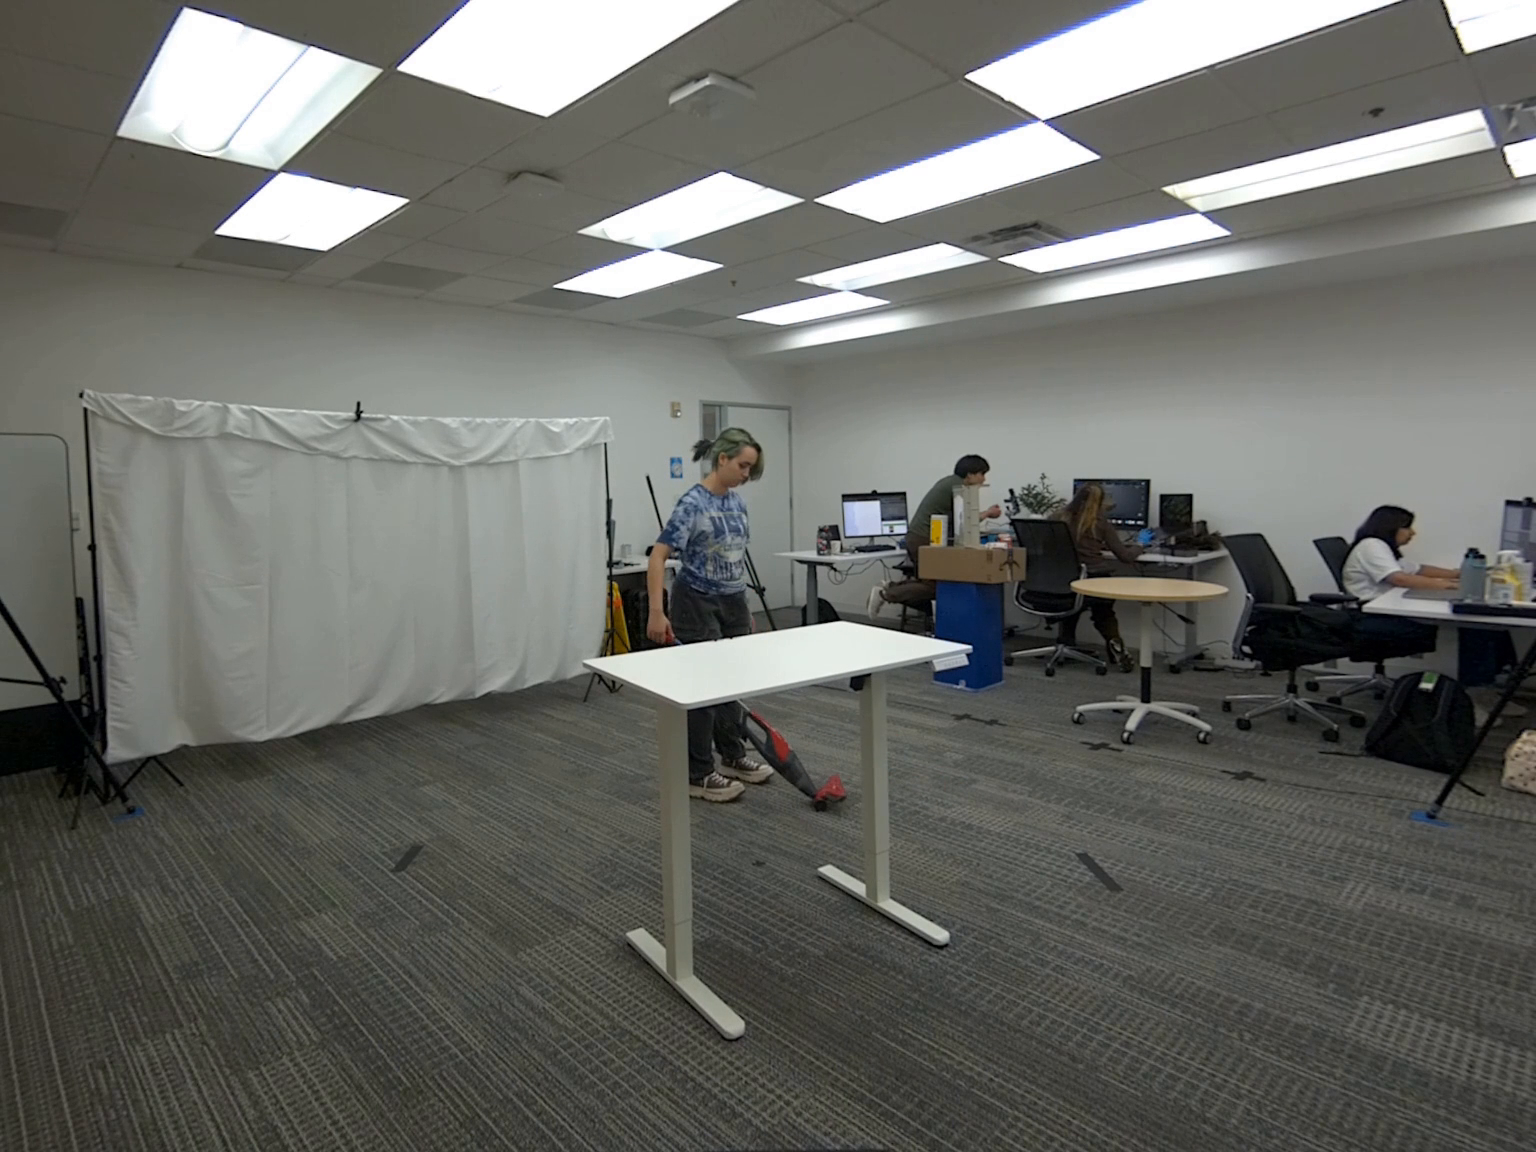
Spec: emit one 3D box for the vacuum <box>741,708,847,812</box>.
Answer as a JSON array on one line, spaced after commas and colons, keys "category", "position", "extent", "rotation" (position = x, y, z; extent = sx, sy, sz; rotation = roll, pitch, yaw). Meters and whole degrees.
[{"category": "vacuum", "position": [-0.101, 0.605, 3.633], "extent": [1.047, 0.144, 0.253], "rotation": [42, 4, -2]}]
